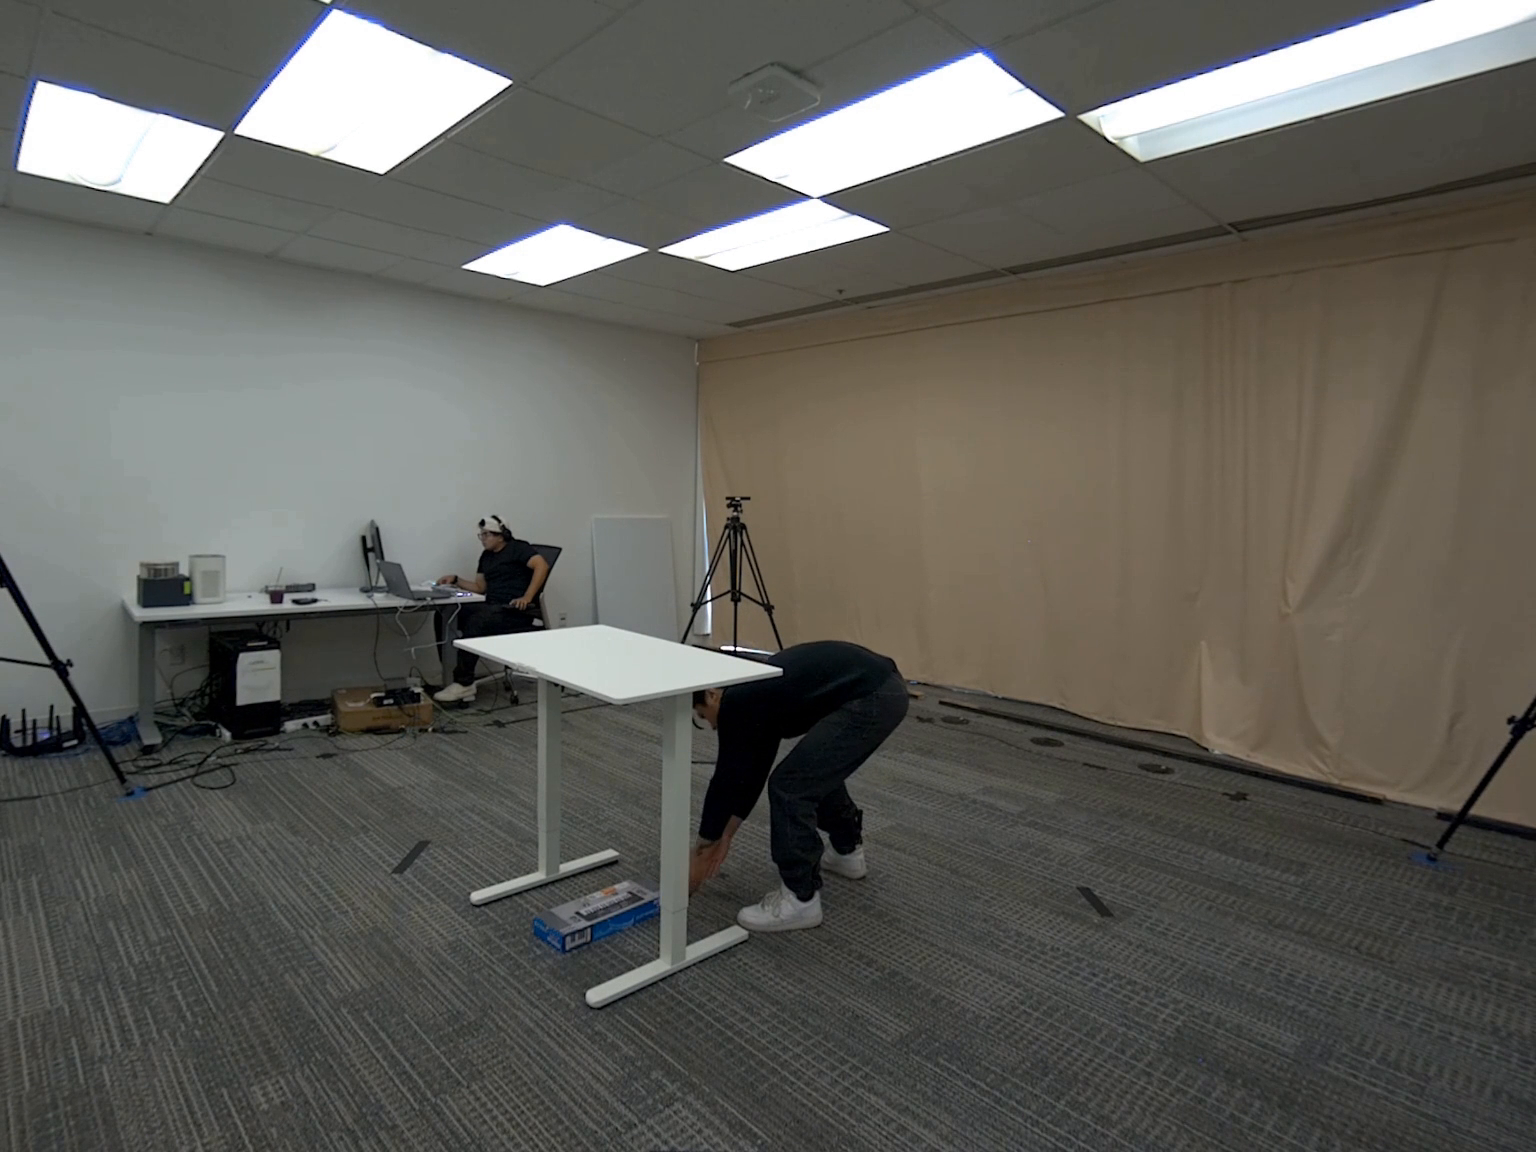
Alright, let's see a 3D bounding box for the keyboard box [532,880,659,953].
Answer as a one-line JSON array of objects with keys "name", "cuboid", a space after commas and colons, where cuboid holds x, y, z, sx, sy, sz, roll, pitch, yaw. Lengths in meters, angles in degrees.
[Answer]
[{"name": "keyboard box", "cuboid": [-0.541, 1.100, 2.758, 0.180, 0.059, 0.427, 6, 7, 44]}]
